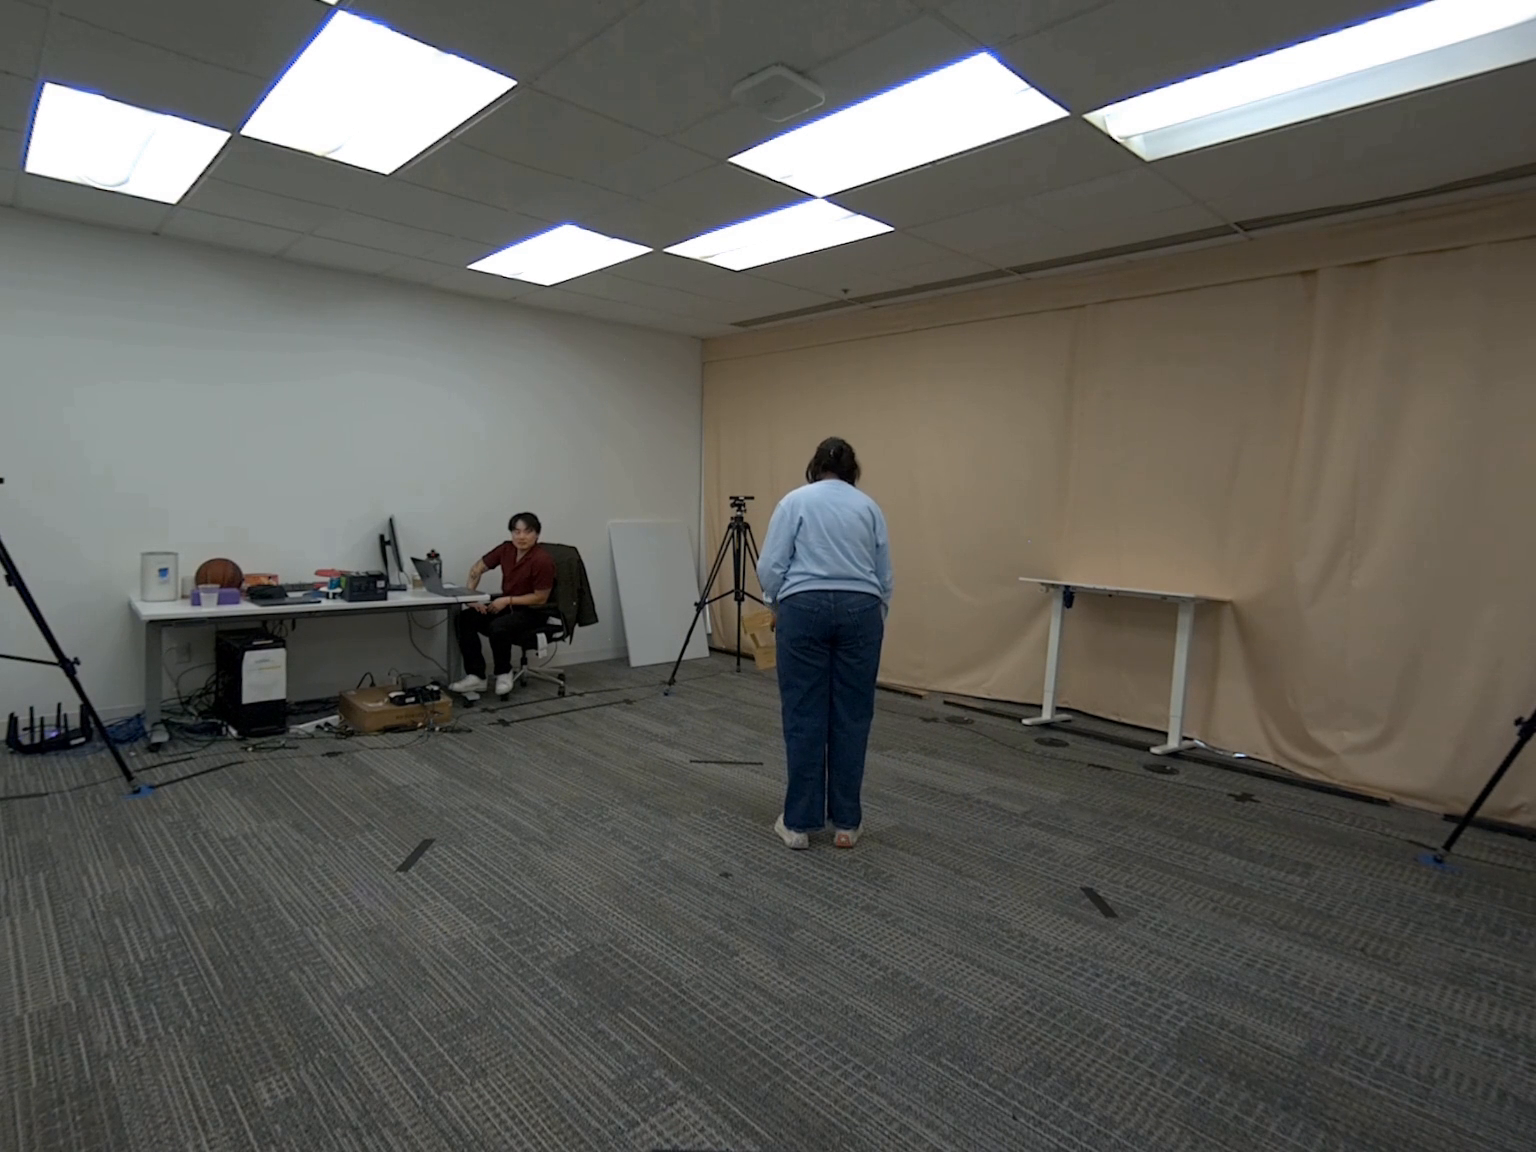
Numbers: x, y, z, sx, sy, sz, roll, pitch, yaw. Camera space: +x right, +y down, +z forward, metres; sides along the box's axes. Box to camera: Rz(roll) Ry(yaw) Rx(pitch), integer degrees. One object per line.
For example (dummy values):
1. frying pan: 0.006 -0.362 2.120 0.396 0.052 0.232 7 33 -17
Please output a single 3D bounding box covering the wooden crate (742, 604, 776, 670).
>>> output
1. wooden crate: 0.084 0.252 3.829 0.328 0.274 0.298 -14 -2 18
